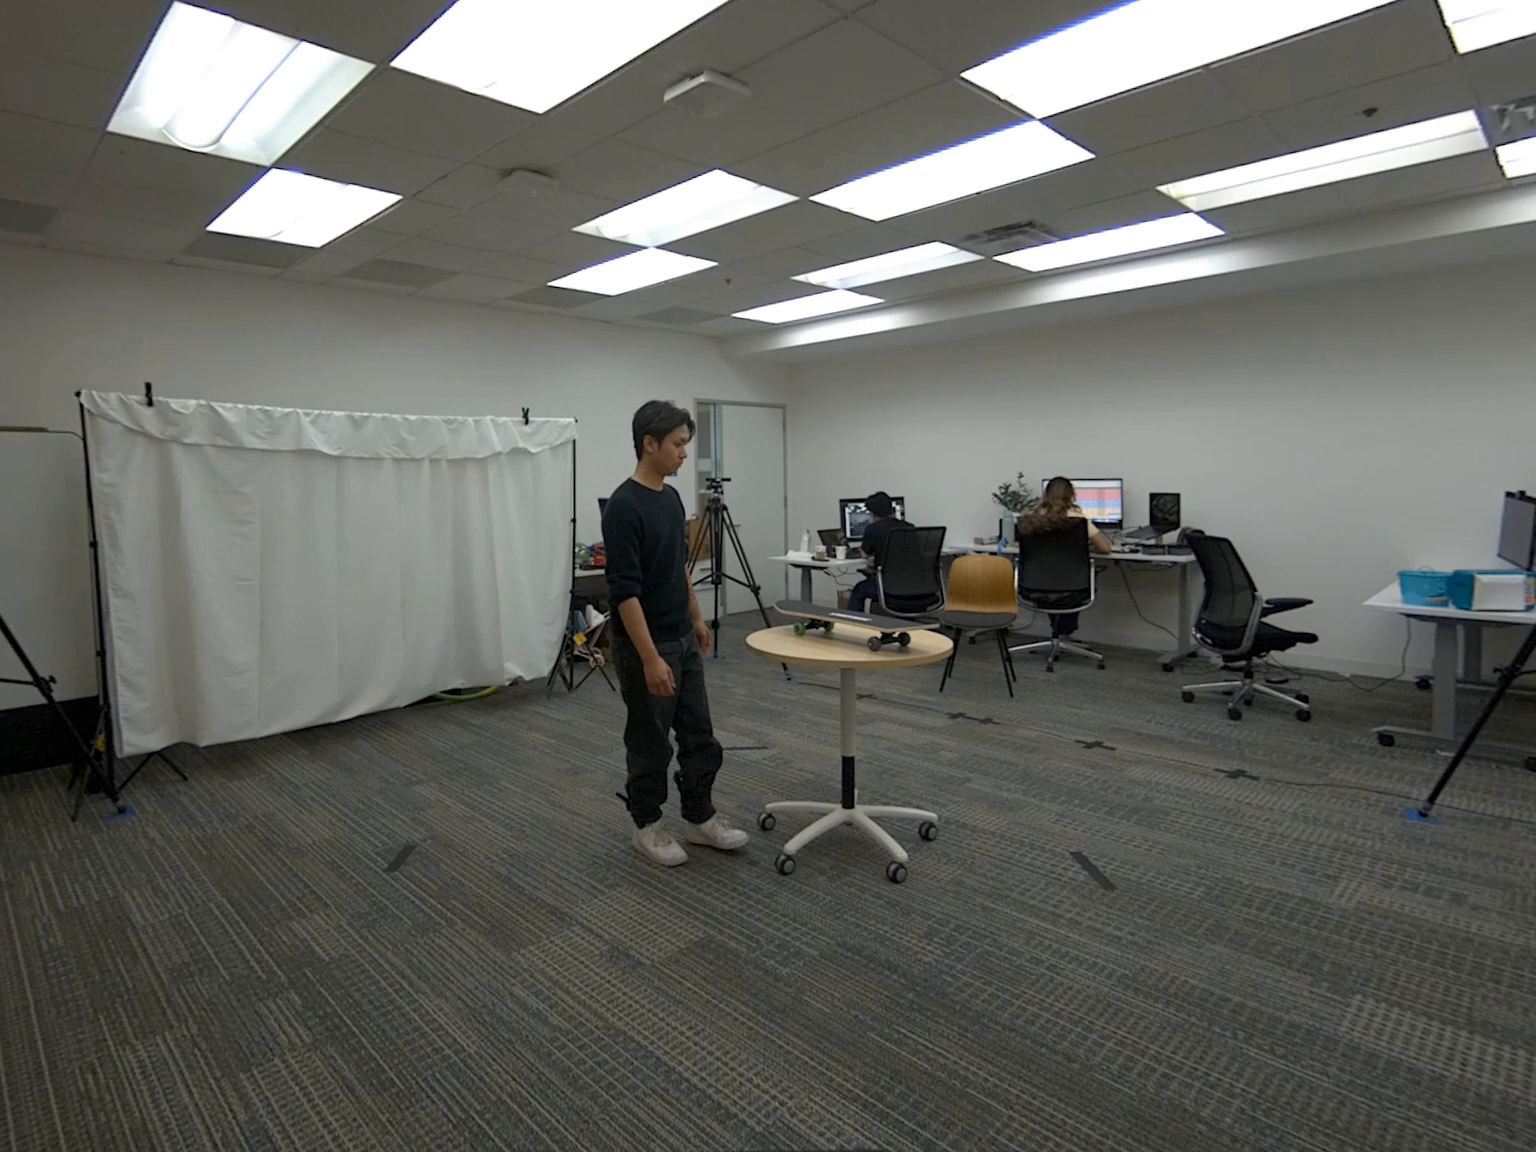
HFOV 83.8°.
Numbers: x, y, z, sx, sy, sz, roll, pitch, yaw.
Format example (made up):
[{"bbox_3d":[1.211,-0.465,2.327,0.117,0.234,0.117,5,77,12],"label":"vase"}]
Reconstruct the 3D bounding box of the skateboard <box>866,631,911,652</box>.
[{"bbox_3d":[0.307,0.195,3.187,0.188,0.110,0.810,-6,8,-38],"label":"skateboard"}]
